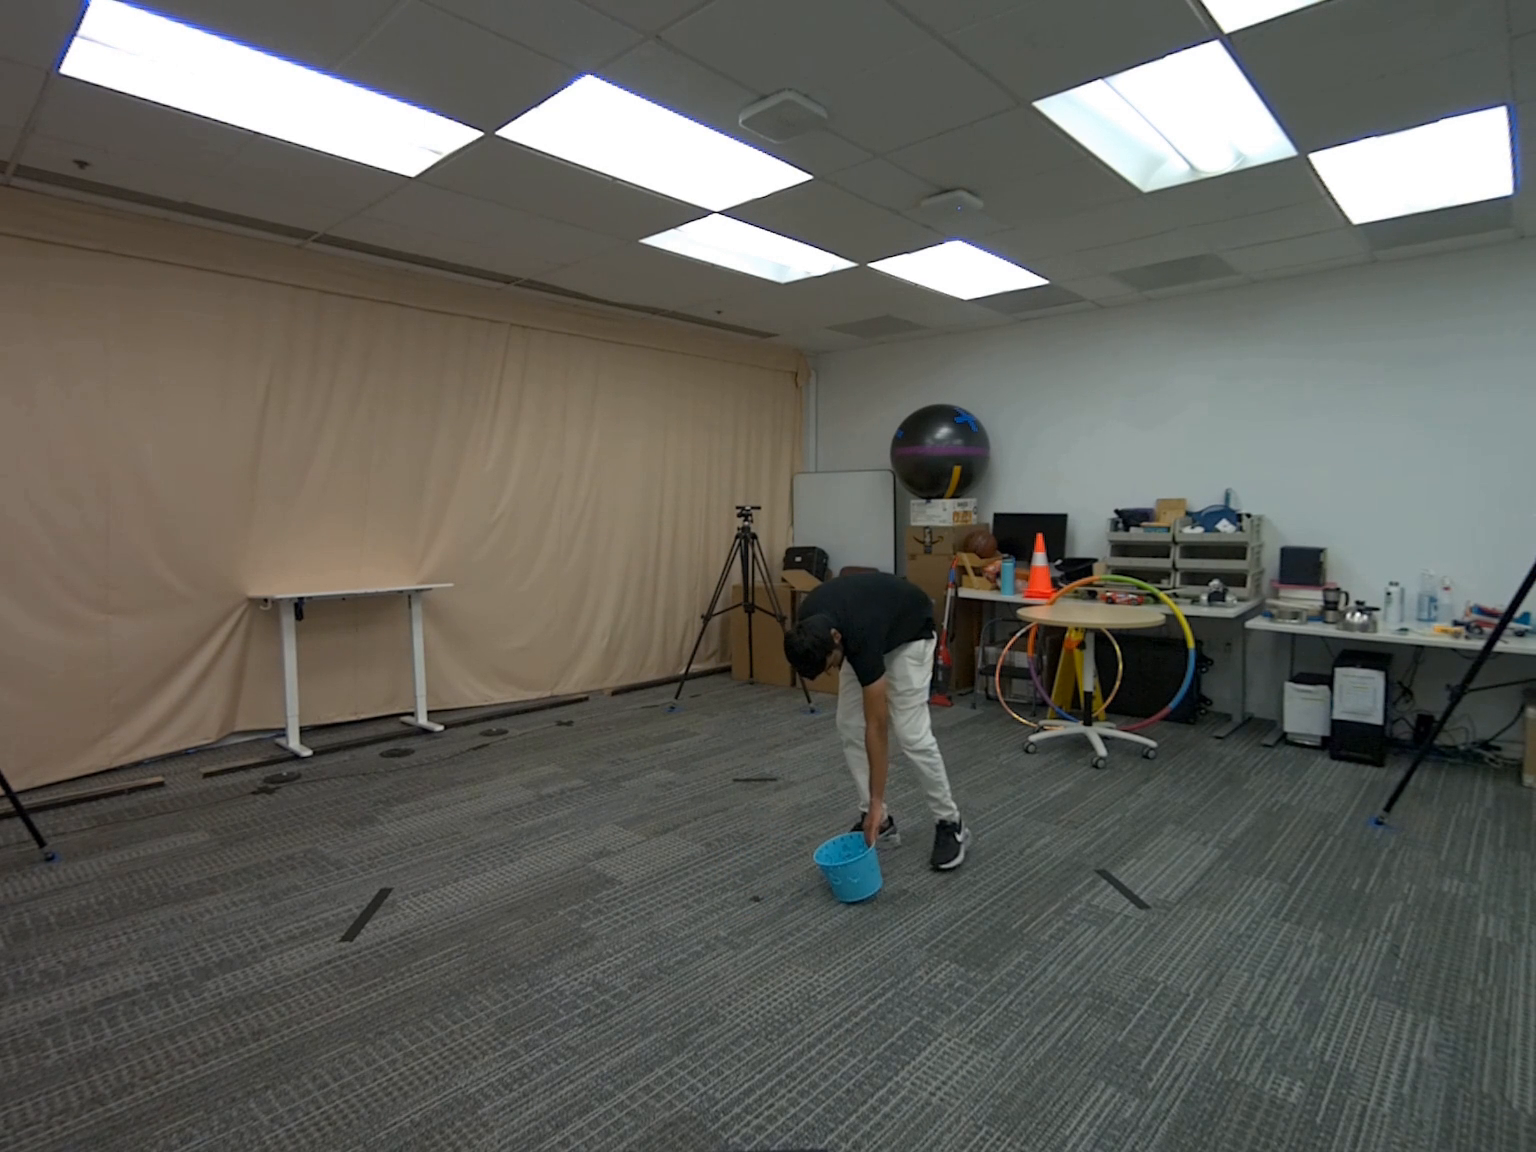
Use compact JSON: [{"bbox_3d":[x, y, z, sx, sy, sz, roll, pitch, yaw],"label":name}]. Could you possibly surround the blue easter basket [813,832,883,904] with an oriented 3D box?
[{"bbox_3d":[0.301,1.039,3.002,0.243,0.155,0.244,-18,4,-1],"label":"blue easter basket"}]
